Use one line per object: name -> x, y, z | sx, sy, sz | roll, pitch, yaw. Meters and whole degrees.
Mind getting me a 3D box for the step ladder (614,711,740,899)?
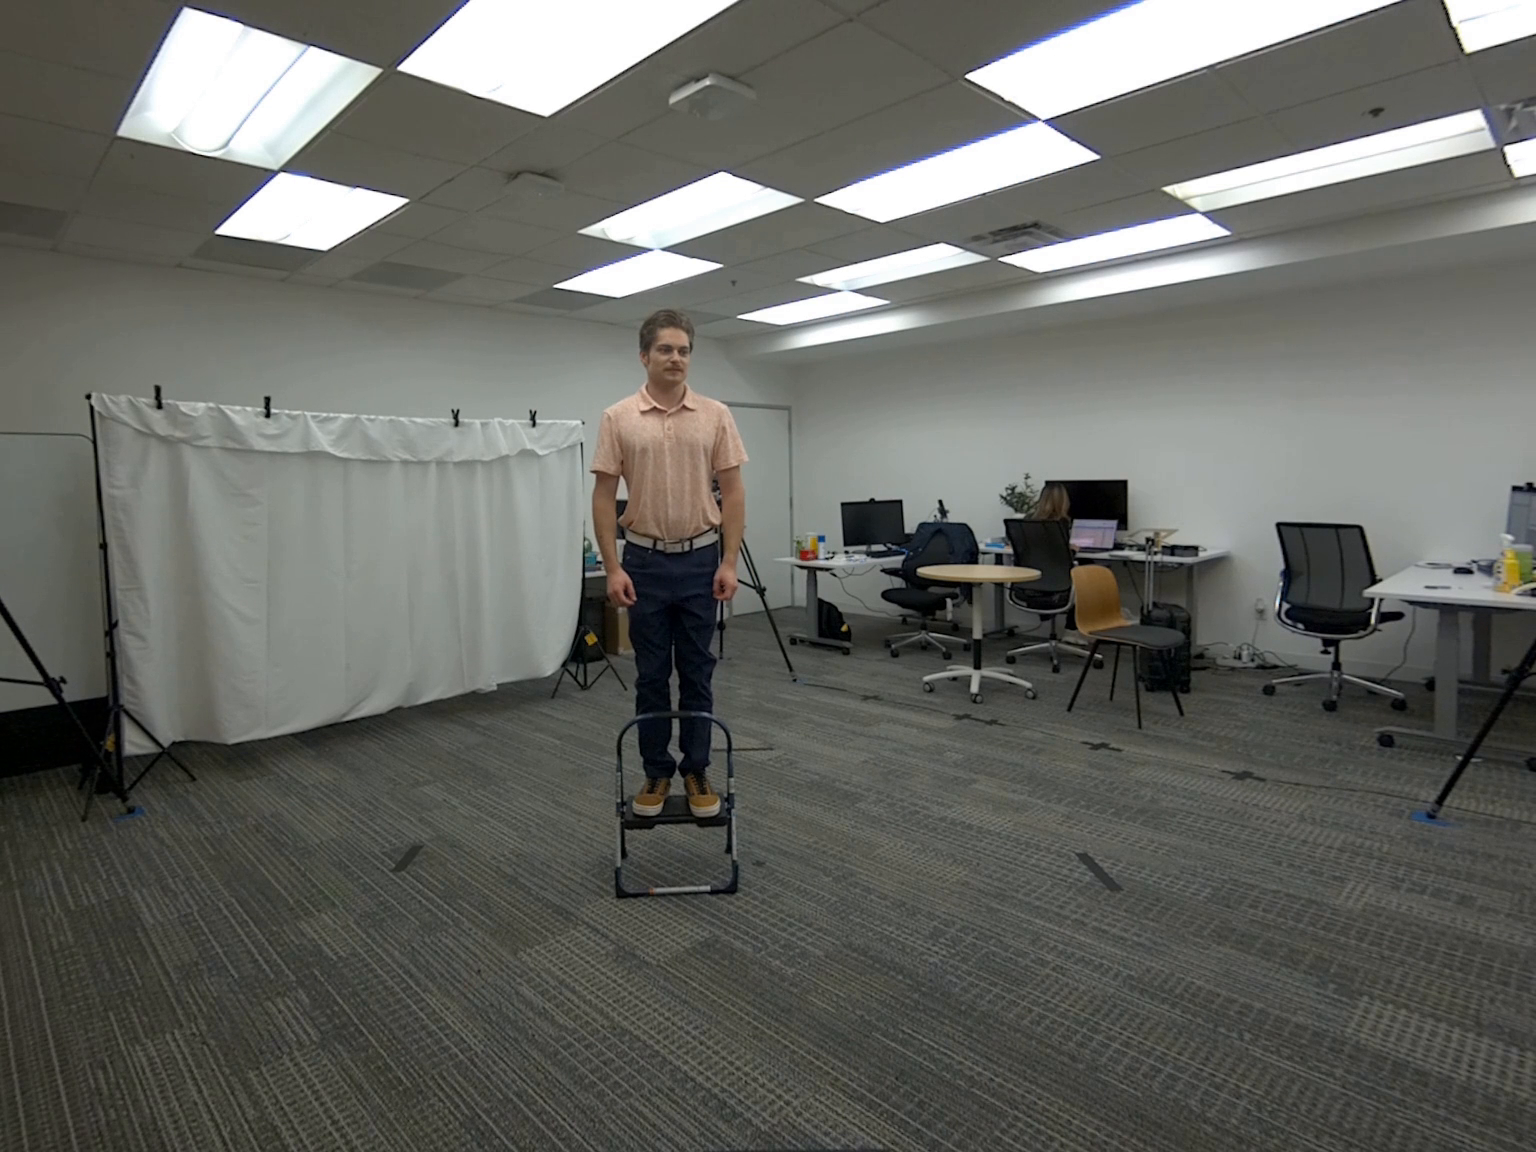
step ladder -> -0.328, 0.762, 3.024 | 0.428, 0.604, 0.352 | -2, 4, -5
